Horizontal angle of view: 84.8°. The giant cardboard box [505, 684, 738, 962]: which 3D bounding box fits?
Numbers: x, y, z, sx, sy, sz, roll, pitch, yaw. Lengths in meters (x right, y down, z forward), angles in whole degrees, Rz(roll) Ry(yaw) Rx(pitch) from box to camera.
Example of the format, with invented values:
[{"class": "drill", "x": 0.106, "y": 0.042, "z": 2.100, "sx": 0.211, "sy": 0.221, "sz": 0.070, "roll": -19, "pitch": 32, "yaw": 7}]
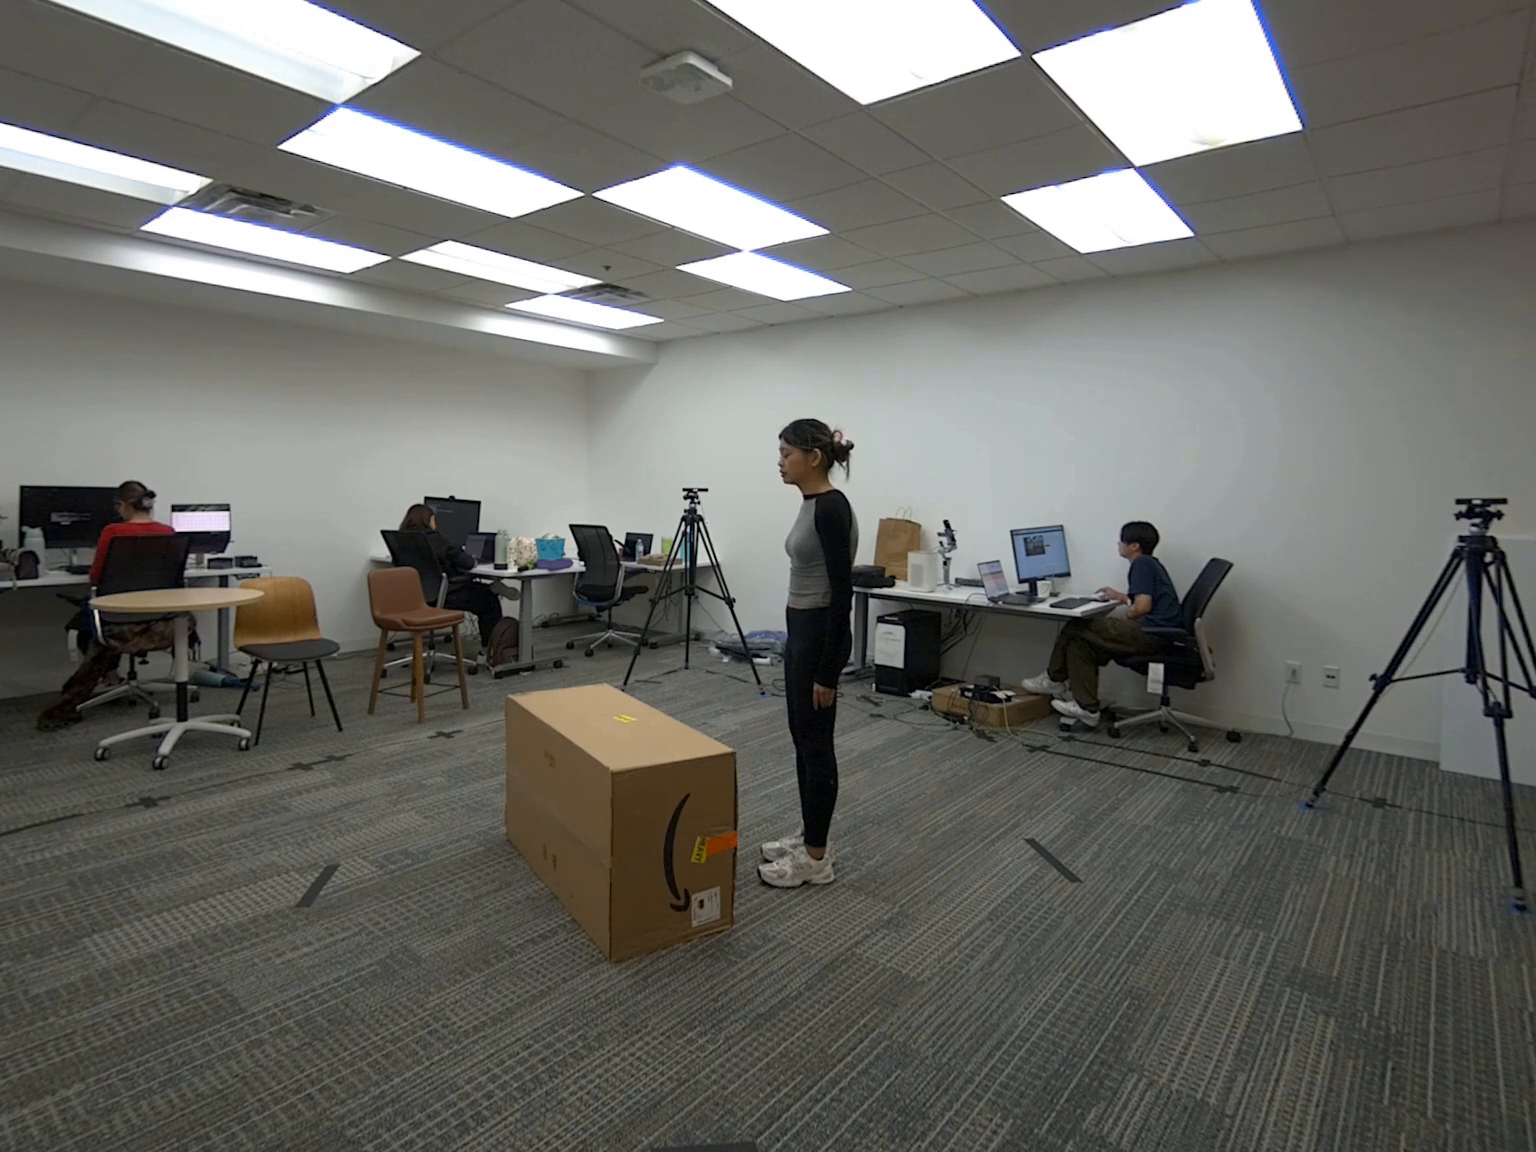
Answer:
[{"class": "giant cardboard box", "x": -0.570, "y": 0.786, "z": 2.999, "sx": 0.414, "sy": 0.575, "sz": 1.059, "roll": -1, "pitch": 6, "yaw": -33}]
